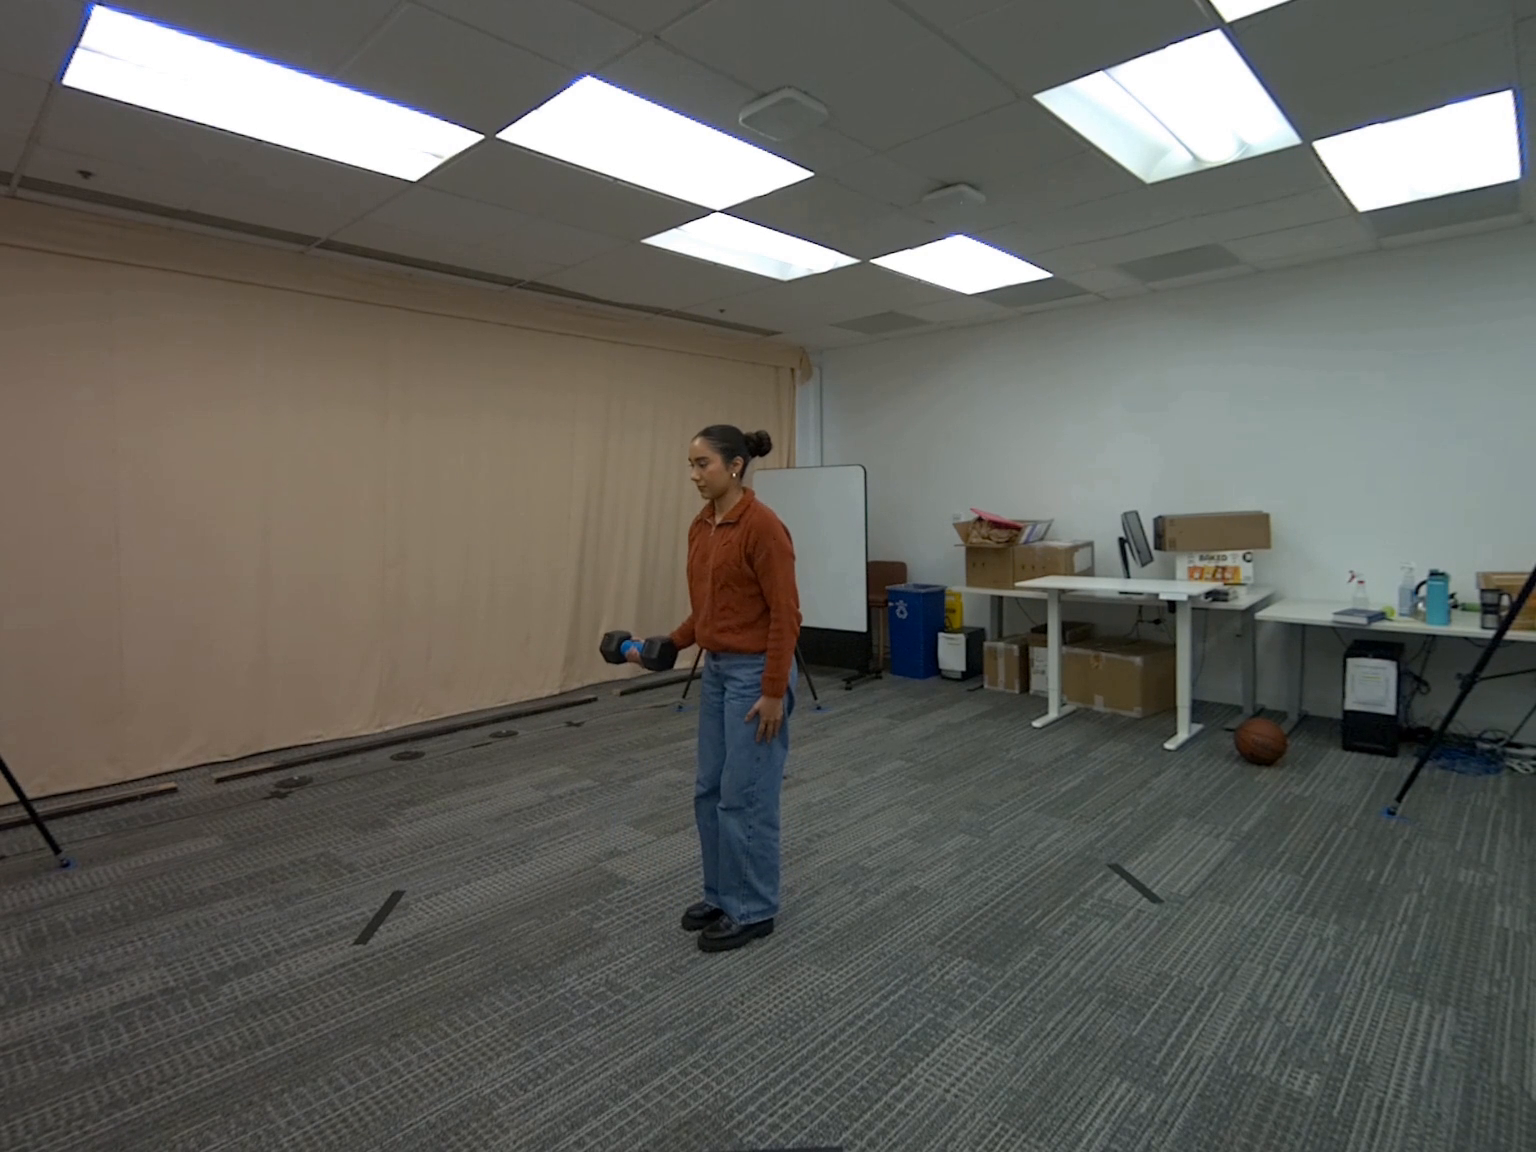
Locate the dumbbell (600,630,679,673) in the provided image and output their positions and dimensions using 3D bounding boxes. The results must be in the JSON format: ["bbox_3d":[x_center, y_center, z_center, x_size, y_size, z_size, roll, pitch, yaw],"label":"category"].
[{"bbox_3d":[-0.435,0.256,2.847,0.303,0.108,0.119,3,8,42],"label":"dumbbell"}]
